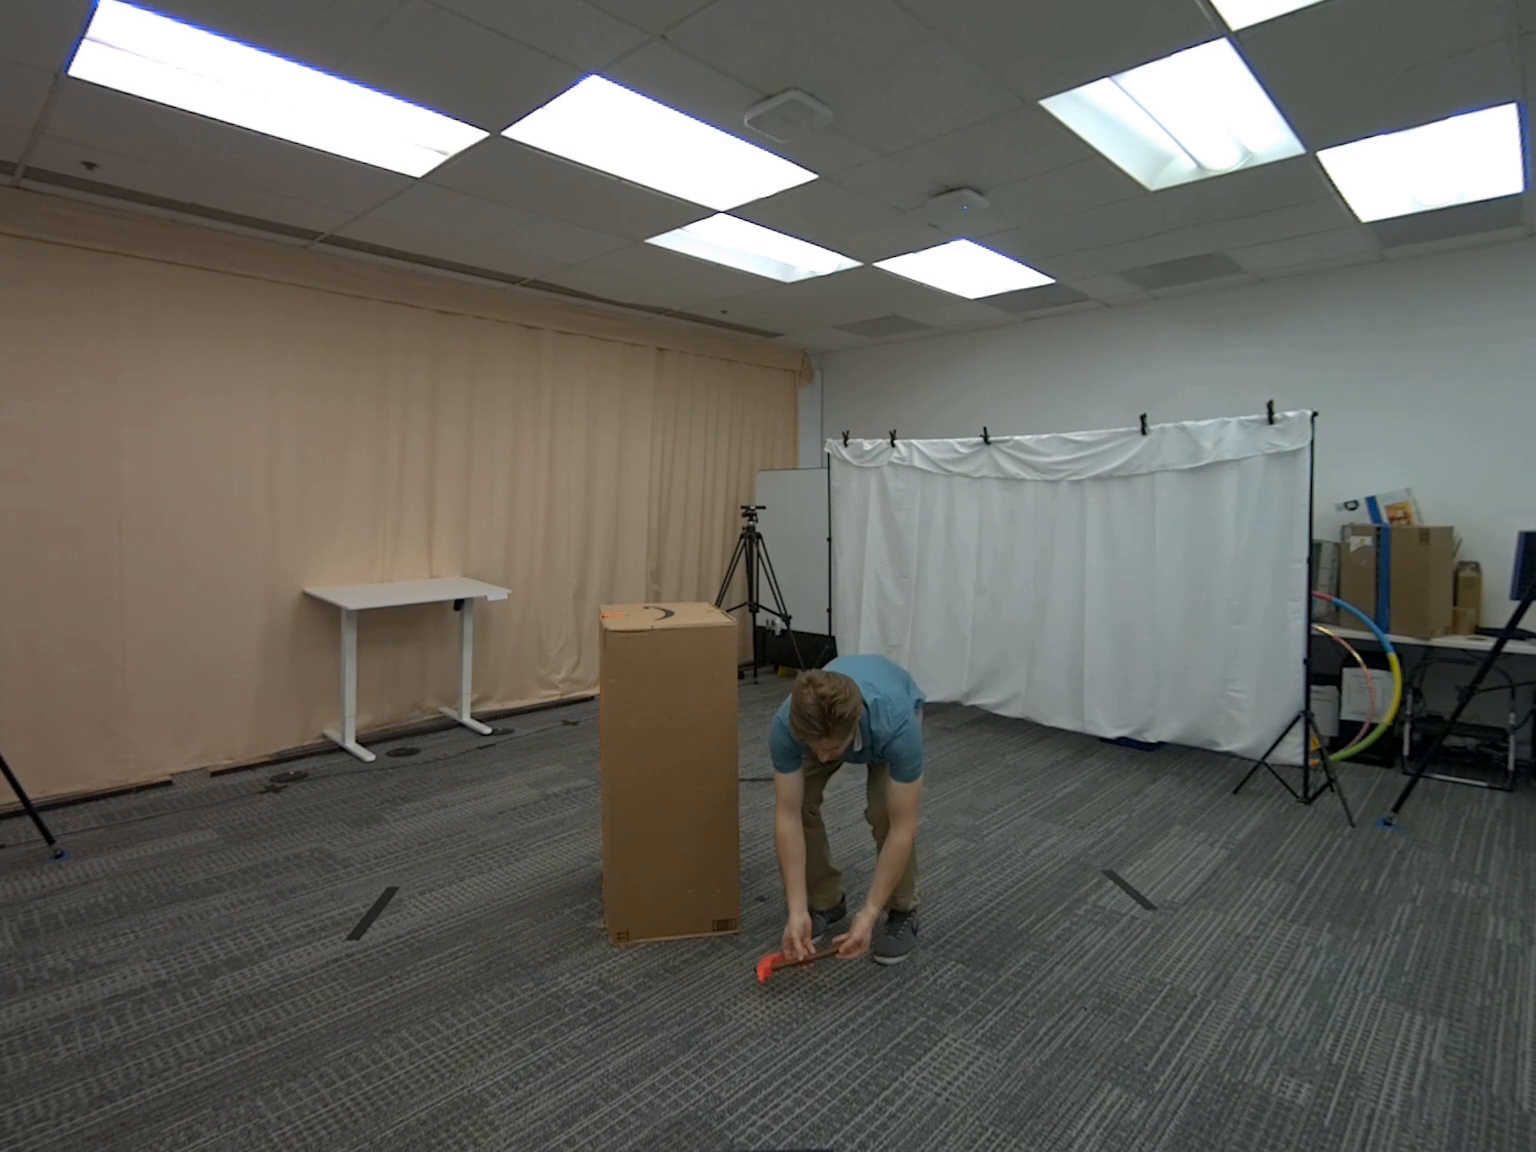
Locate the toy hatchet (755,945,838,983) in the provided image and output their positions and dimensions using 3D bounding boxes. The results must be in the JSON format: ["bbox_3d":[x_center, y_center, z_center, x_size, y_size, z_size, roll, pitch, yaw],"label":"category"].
[{"bbox_3d":[0.085,1.098,2.407,0.269,0.029,0.131,-13,1,-5],"label":"toy hatchet"}]
